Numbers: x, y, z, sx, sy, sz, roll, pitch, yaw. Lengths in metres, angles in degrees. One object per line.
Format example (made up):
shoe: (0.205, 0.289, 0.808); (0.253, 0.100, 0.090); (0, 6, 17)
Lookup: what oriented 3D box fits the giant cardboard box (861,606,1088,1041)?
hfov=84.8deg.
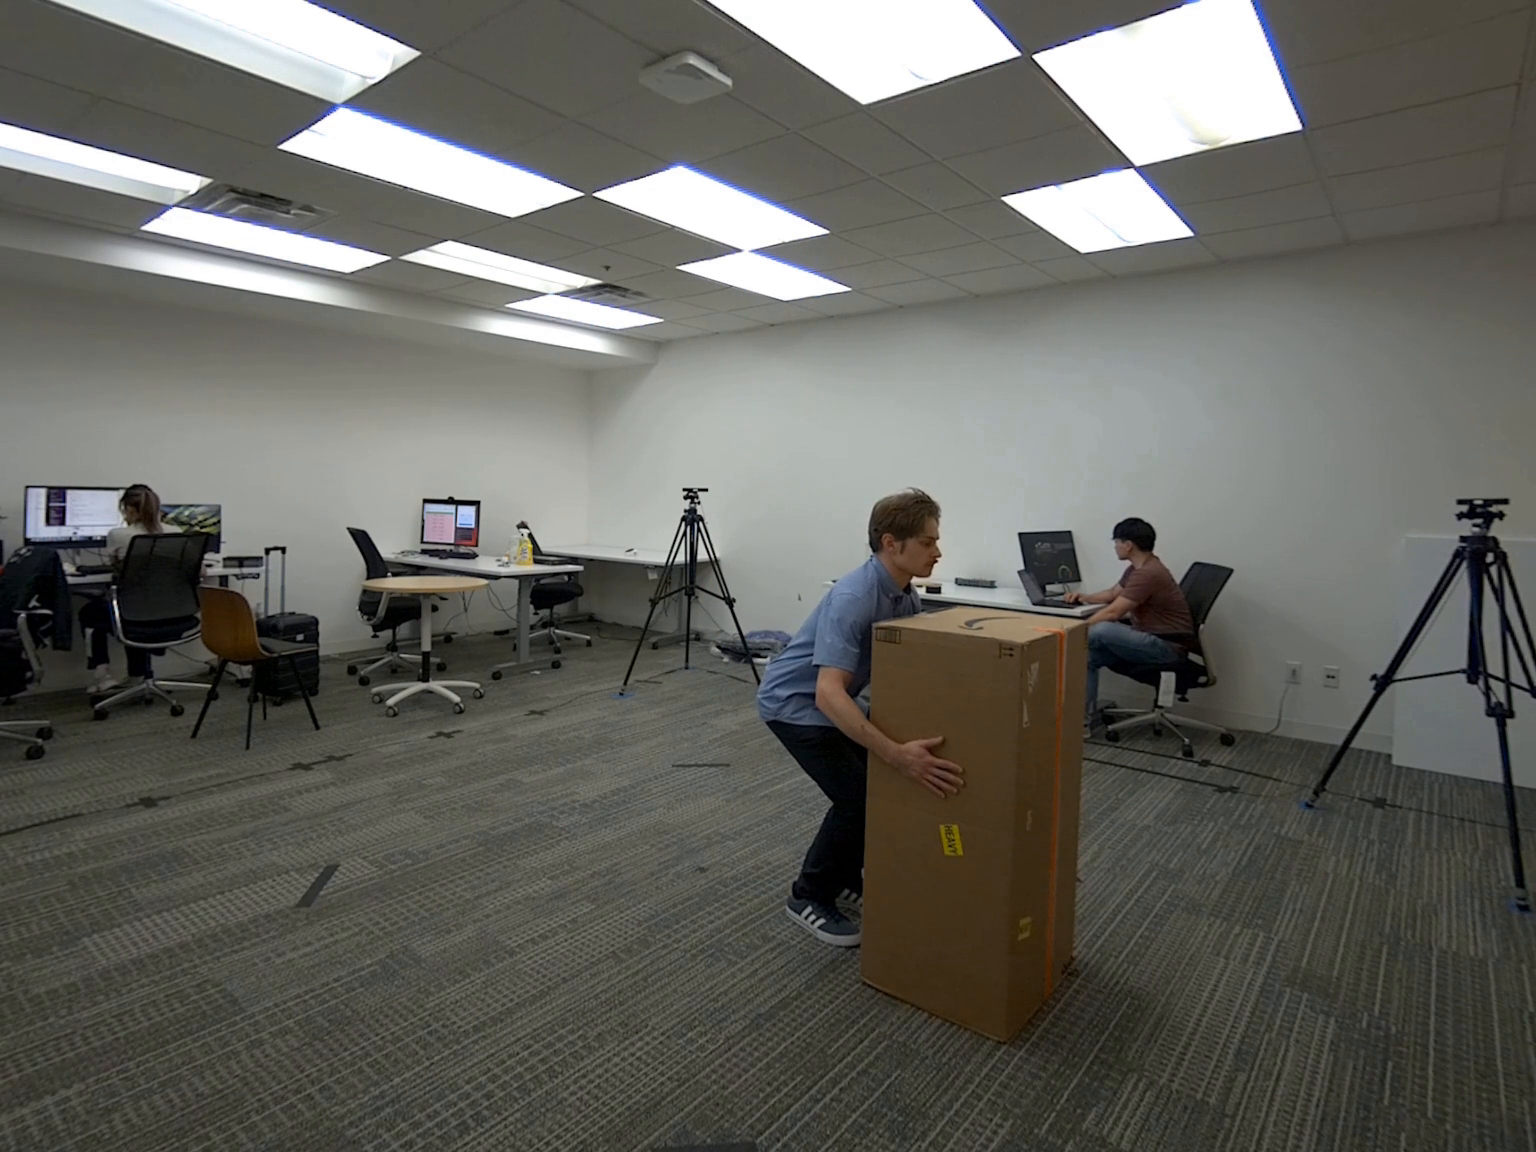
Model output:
giant cardboard box: (0.610, 0.636, 2.473); (0.440, 1.023, 0.560); (4, 4, 38)
